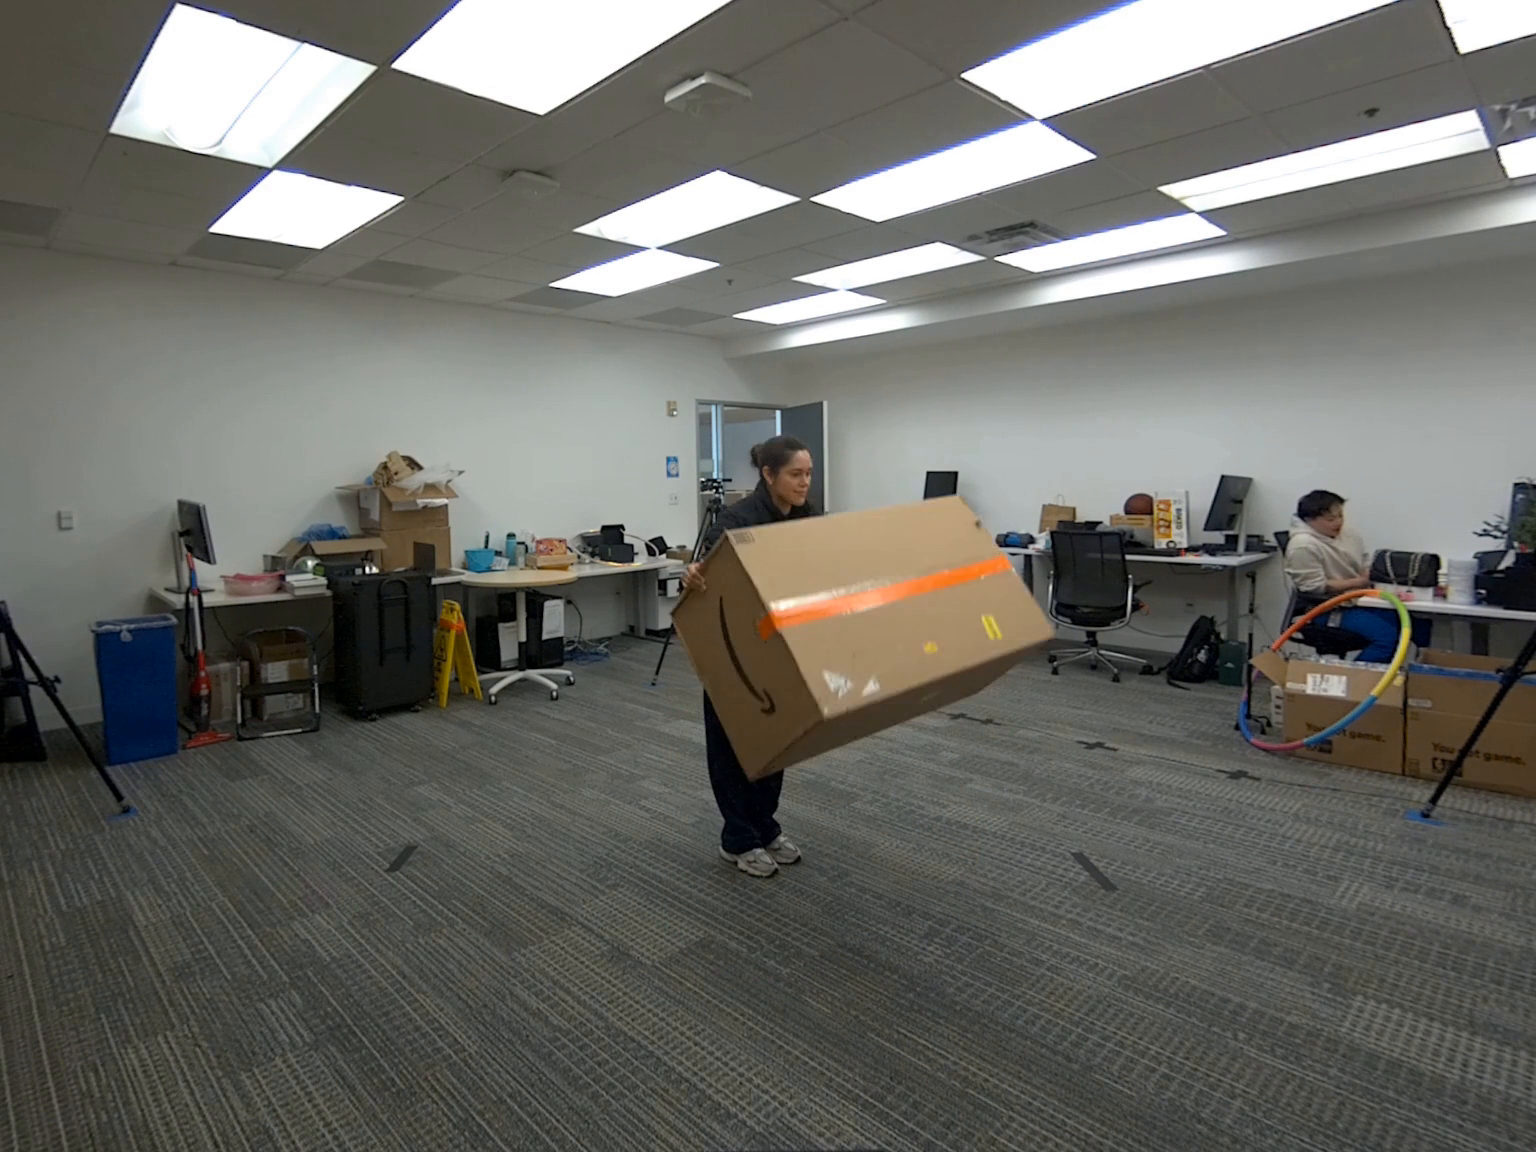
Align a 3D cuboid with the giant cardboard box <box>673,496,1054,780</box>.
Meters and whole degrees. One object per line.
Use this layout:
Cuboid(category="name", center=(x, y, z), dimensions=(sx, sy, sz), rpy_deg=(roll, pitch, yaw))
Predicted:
Cuboid(category="giant cardboard box", center=(0.305, 0.144, 2.688), dimensions=(1.004, 0.600, 0.444), rpy_deg=(-11, -29, -37))
